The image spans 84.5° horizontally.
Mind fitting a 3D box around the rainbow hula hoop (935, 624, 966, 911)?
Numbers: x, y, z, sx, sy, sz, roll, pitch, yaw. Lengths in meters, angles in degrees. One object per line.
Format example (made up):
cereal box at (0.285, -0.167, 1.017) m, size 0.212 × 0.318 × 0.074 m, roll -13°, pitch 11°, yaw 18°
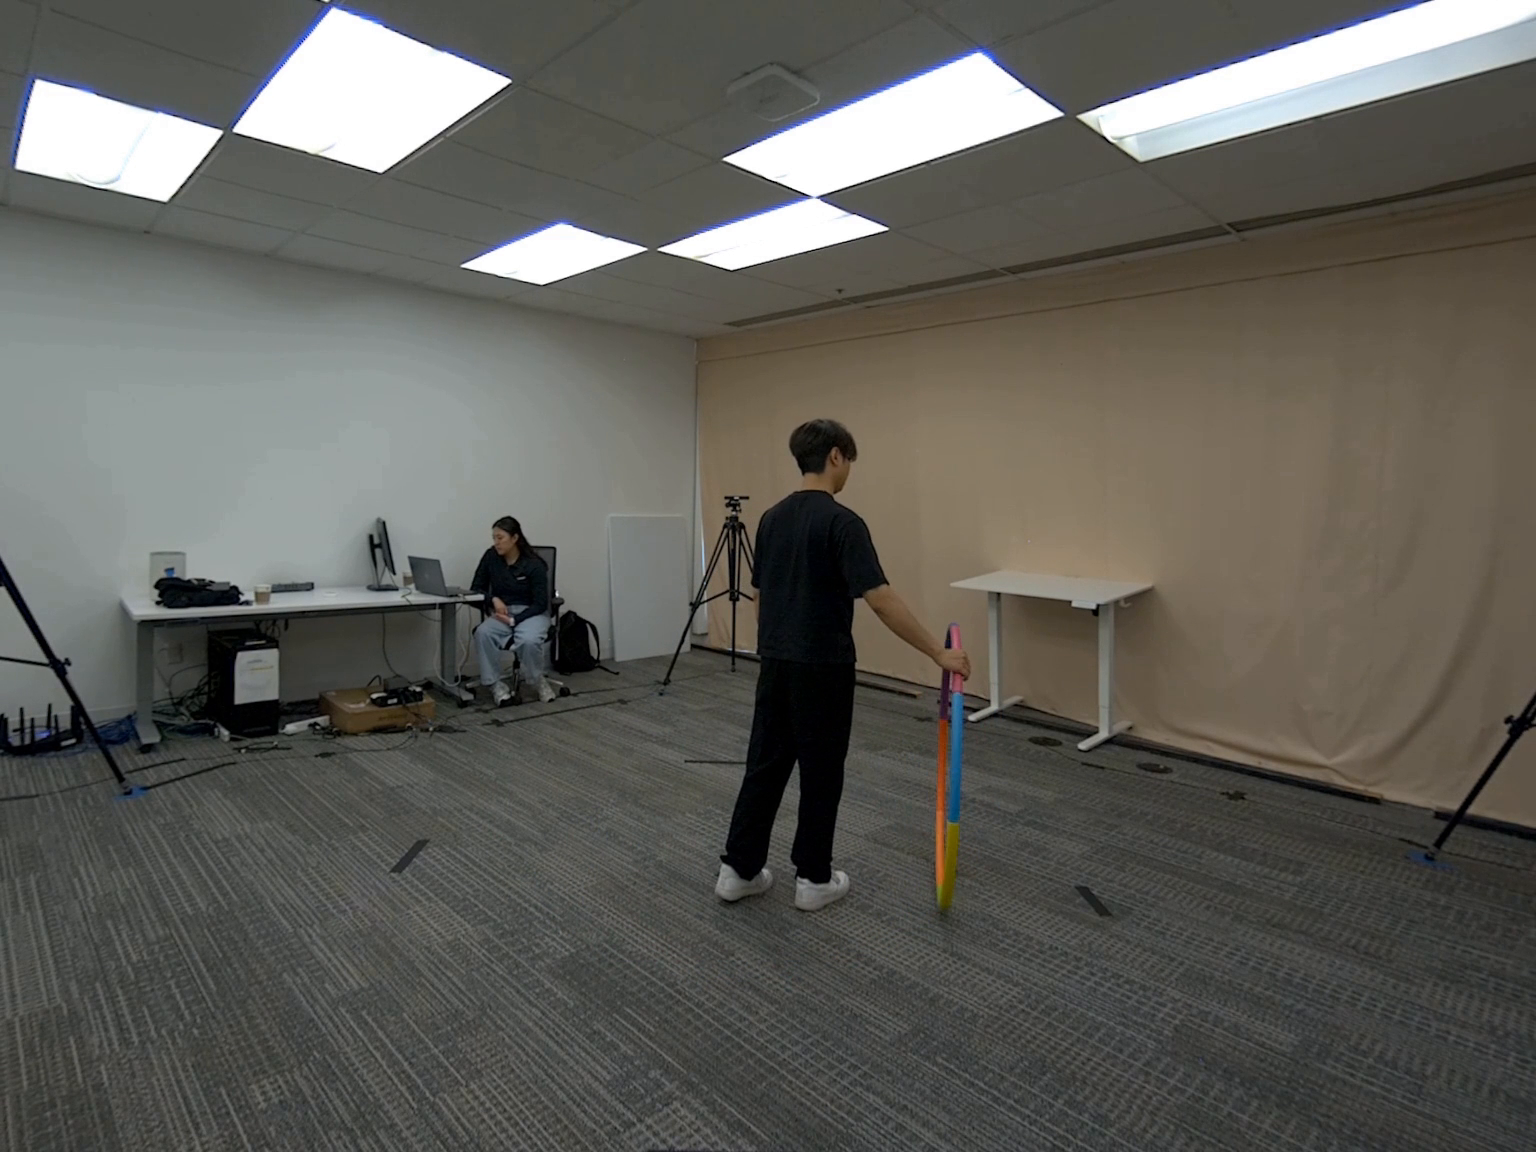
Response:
rainbow hula hoop at (0.613, 0.655, 2.954) m, size 0.036 × 0.976 × 0.972 m, roll 2°, pitch 4°, yaw 10°
